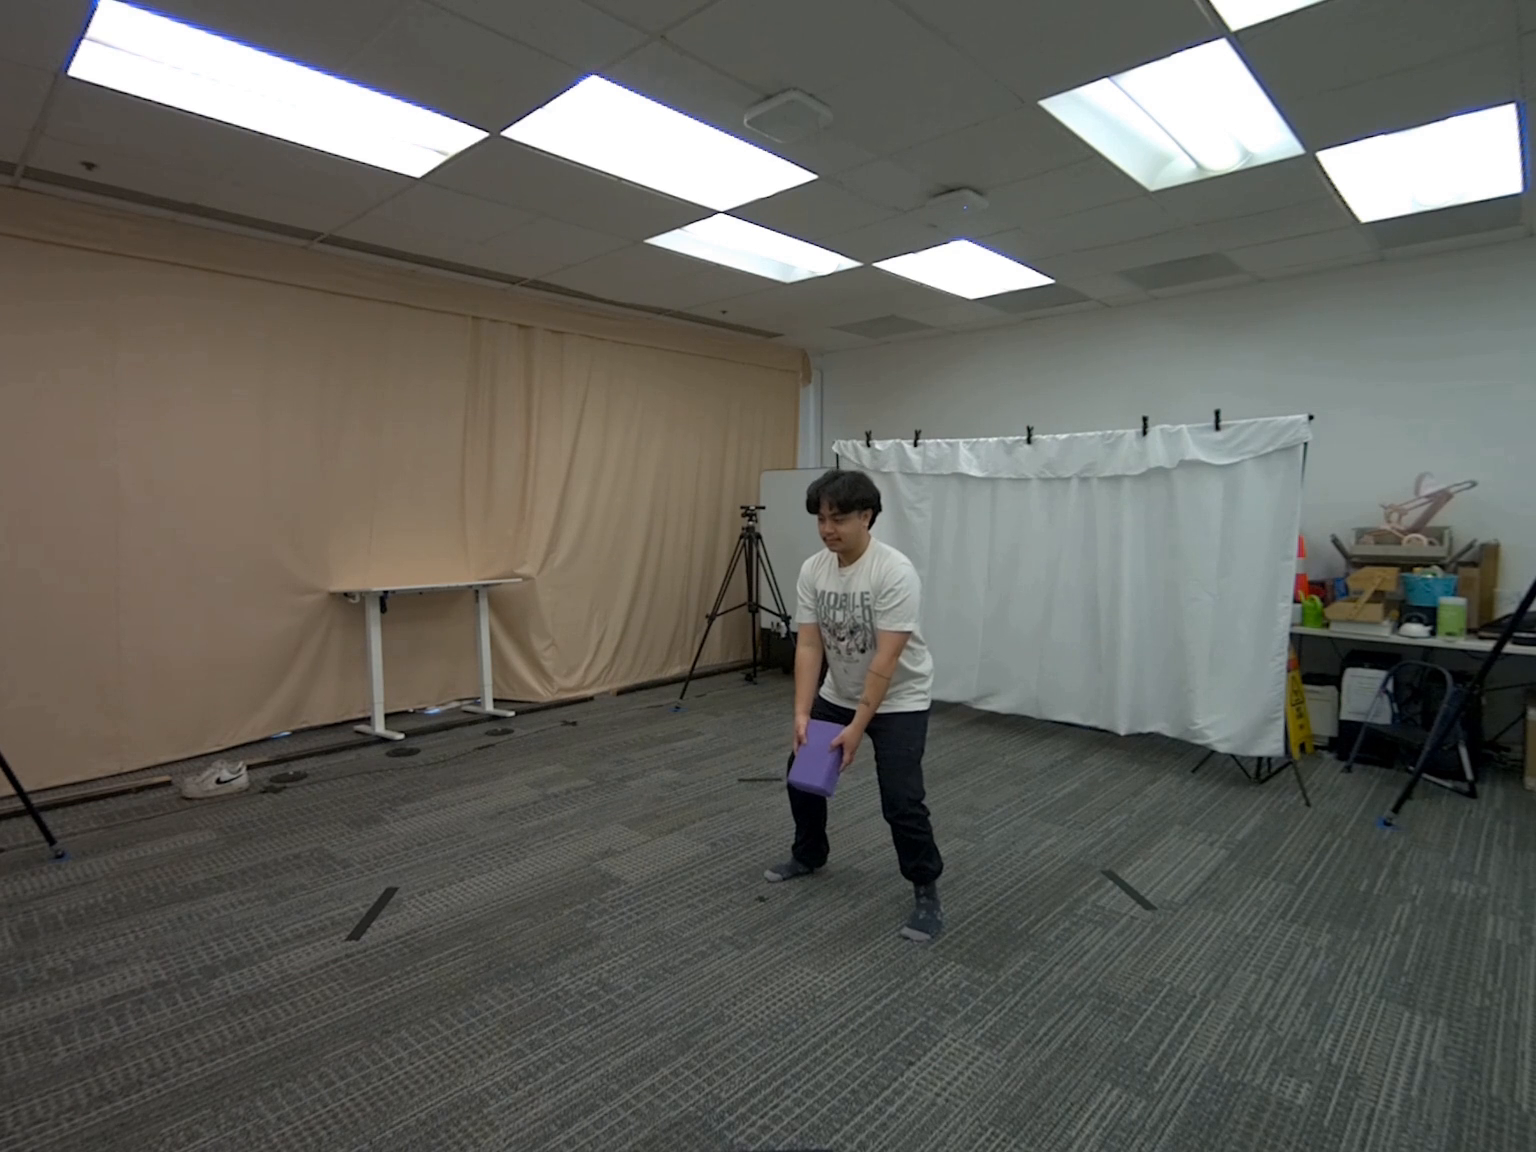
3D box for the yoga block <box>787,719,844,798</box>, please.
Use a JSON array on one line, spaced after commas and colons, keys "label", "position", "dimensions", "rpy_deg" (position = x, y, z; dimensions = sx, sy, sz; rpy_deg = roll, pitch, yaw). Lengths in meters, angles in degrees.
[{"label": "yoga block", "position": [0.178, 0.605, 2.809], "dimensions": [0.154, 0.230, 0.074], "rpy_deg": [-1, -33, 41]}]
